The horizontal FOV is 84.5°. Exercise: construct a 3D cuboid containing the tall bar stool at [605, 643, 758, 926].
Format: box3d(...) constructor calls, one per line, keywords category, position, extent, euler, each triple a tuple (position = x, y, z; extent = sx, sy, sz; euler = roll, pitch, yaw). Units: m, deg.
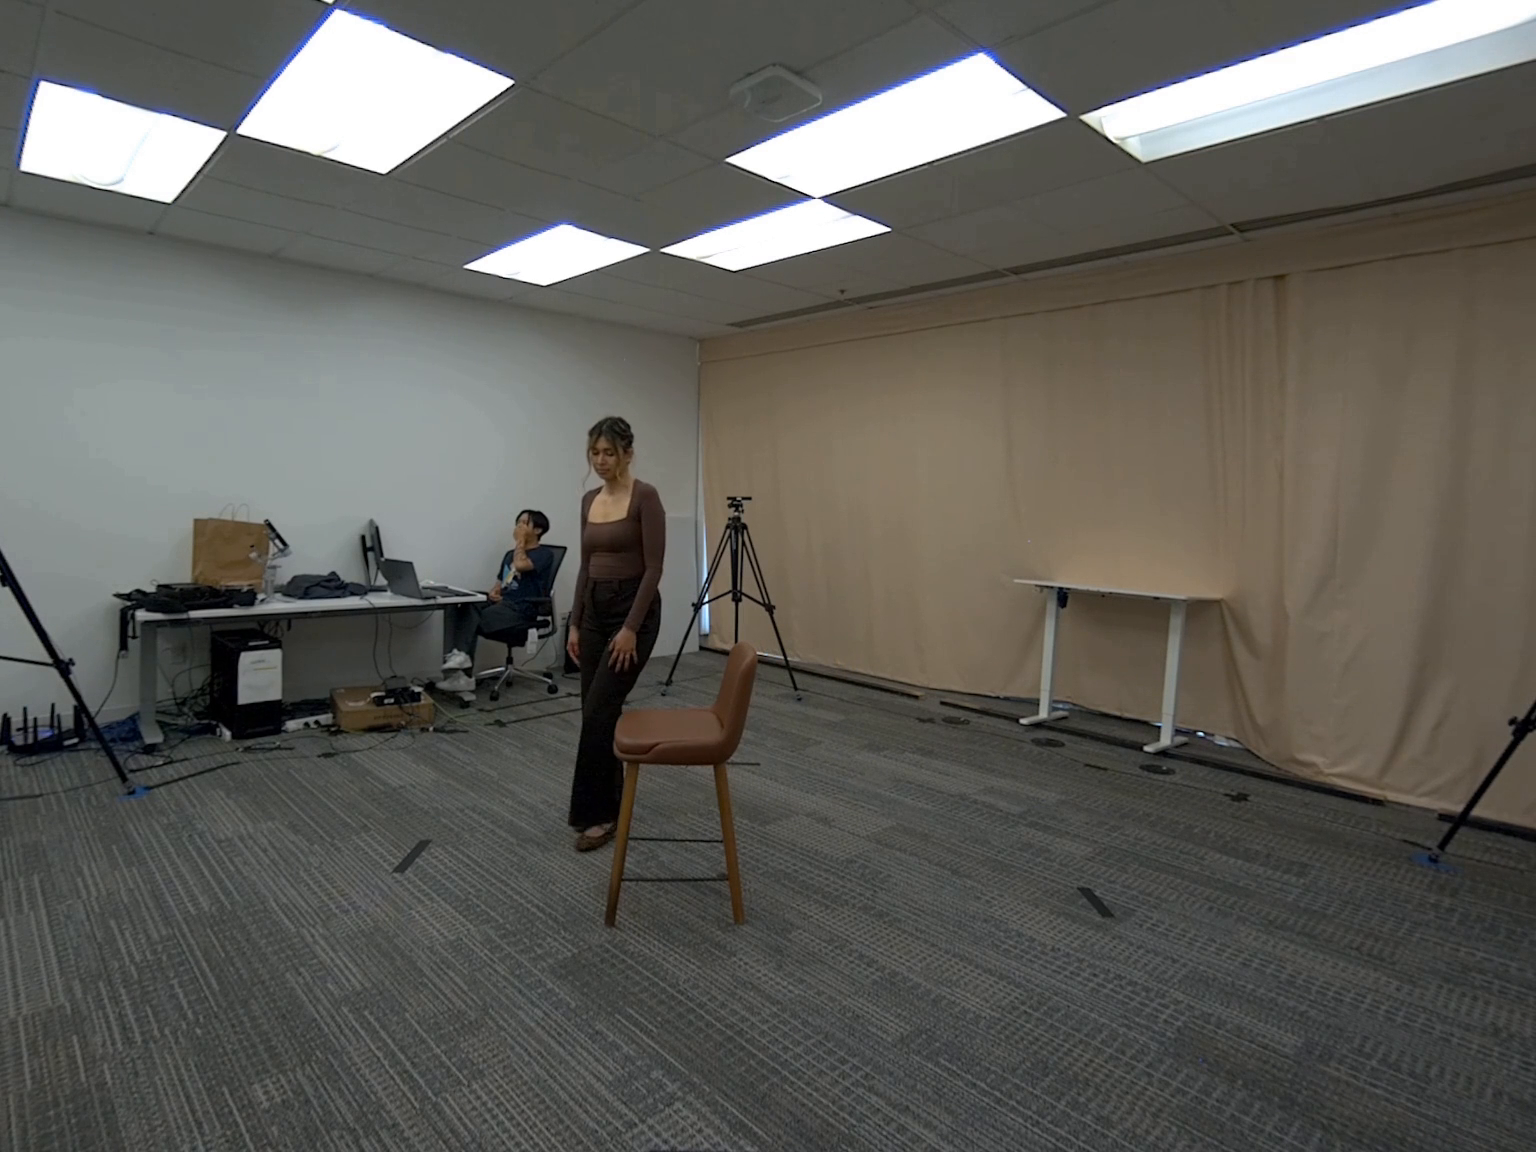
box3d(category="tall bar stool", position=(-0.308, 0.688, 2.896), extent=(0.466, 0.888, 0.459), euler=(2, 3, -5))
